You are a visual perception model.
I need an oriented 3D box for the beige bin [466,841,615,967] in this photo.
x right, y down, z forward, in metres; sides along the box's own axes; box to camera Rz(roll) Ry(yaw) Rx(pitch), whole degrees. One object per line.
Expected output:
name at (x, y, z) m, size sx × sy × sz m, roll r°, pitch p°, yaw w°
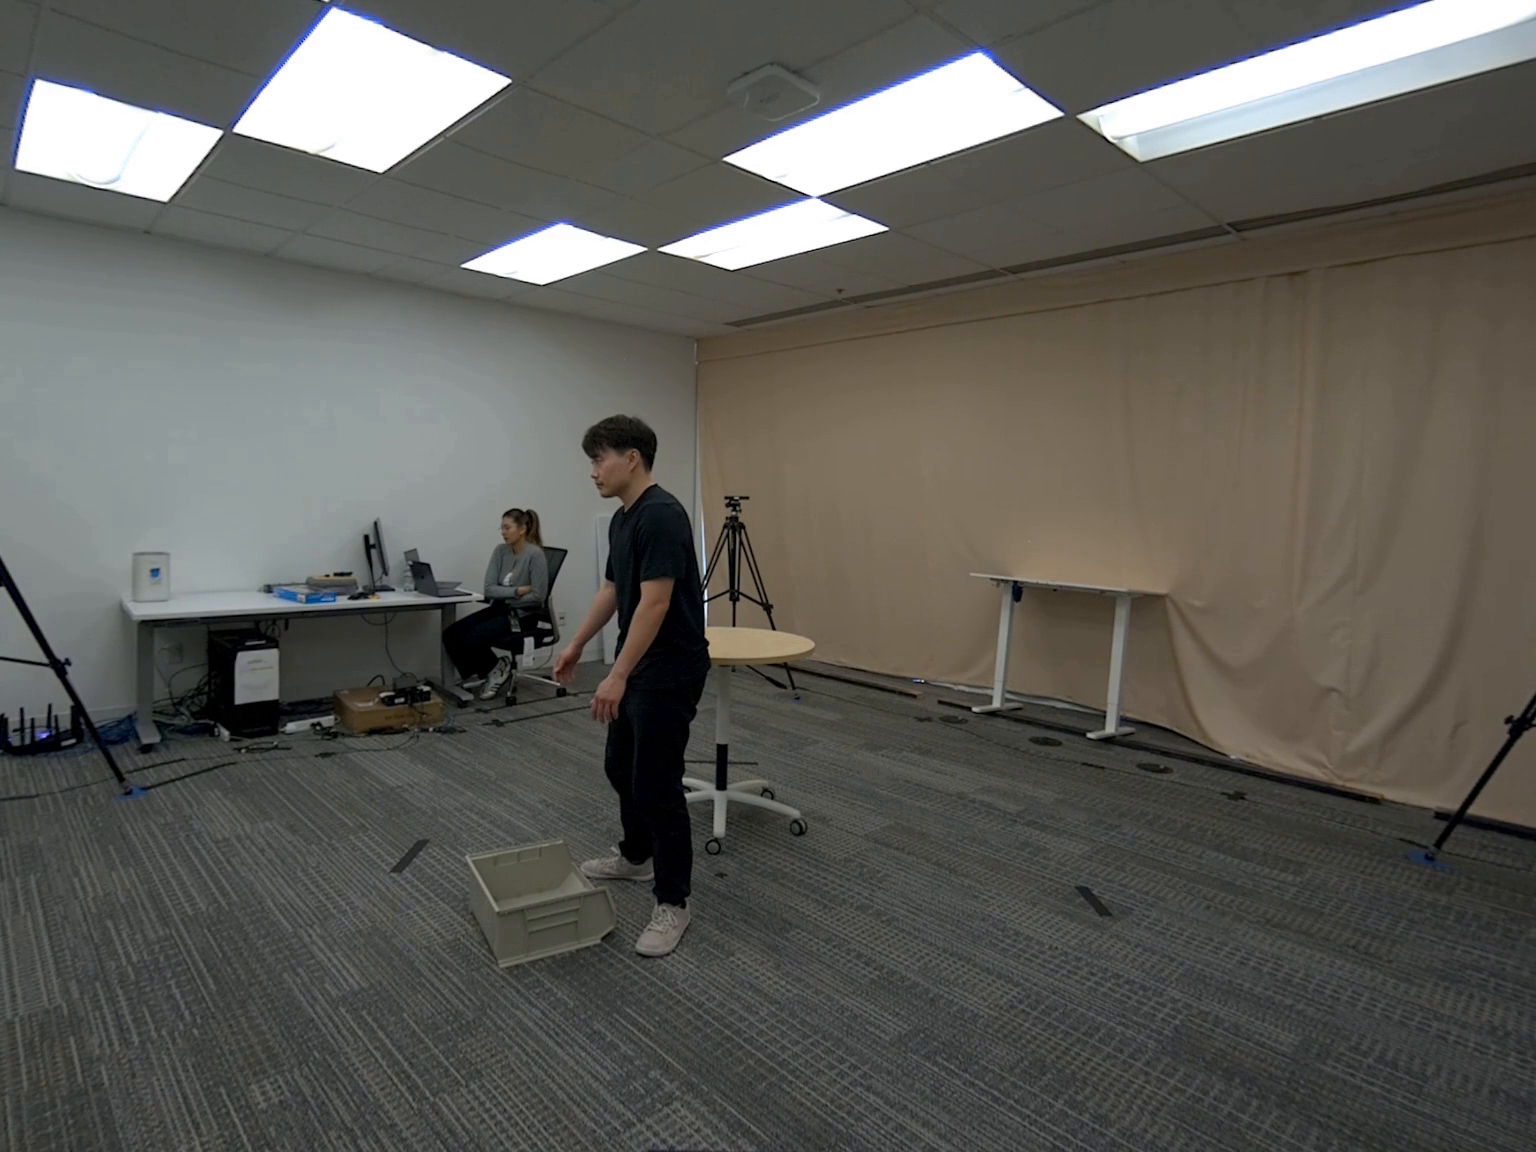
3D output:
beige bin at (-0.746, 1.038, 2.715) m, size 0.370 × 0.188 × 0.432 m, roll -2°, pitch 7°, yaw -30°
